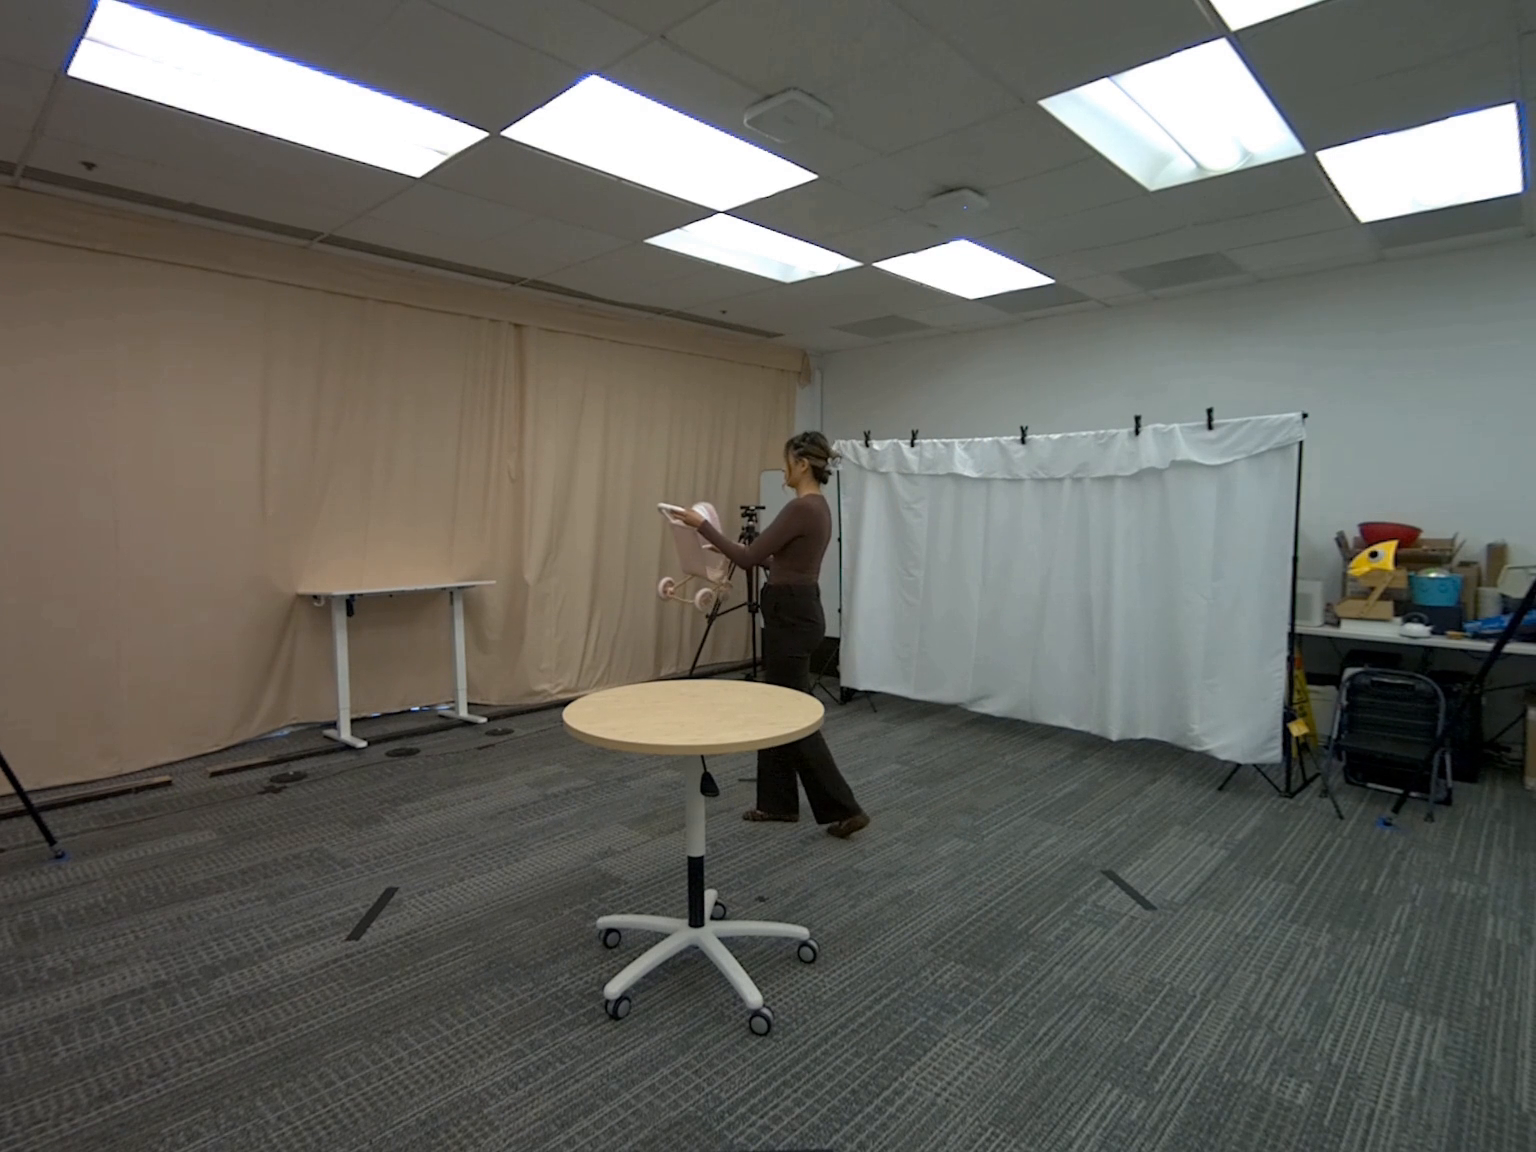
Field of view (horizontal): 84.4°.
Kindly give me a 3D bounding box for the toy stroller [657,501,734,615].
[{"bbox_3d":[-0.297,-0.088,3.788,0.333,0.529,0.291,-18,22,-39],"label":"toy stroller"}]
